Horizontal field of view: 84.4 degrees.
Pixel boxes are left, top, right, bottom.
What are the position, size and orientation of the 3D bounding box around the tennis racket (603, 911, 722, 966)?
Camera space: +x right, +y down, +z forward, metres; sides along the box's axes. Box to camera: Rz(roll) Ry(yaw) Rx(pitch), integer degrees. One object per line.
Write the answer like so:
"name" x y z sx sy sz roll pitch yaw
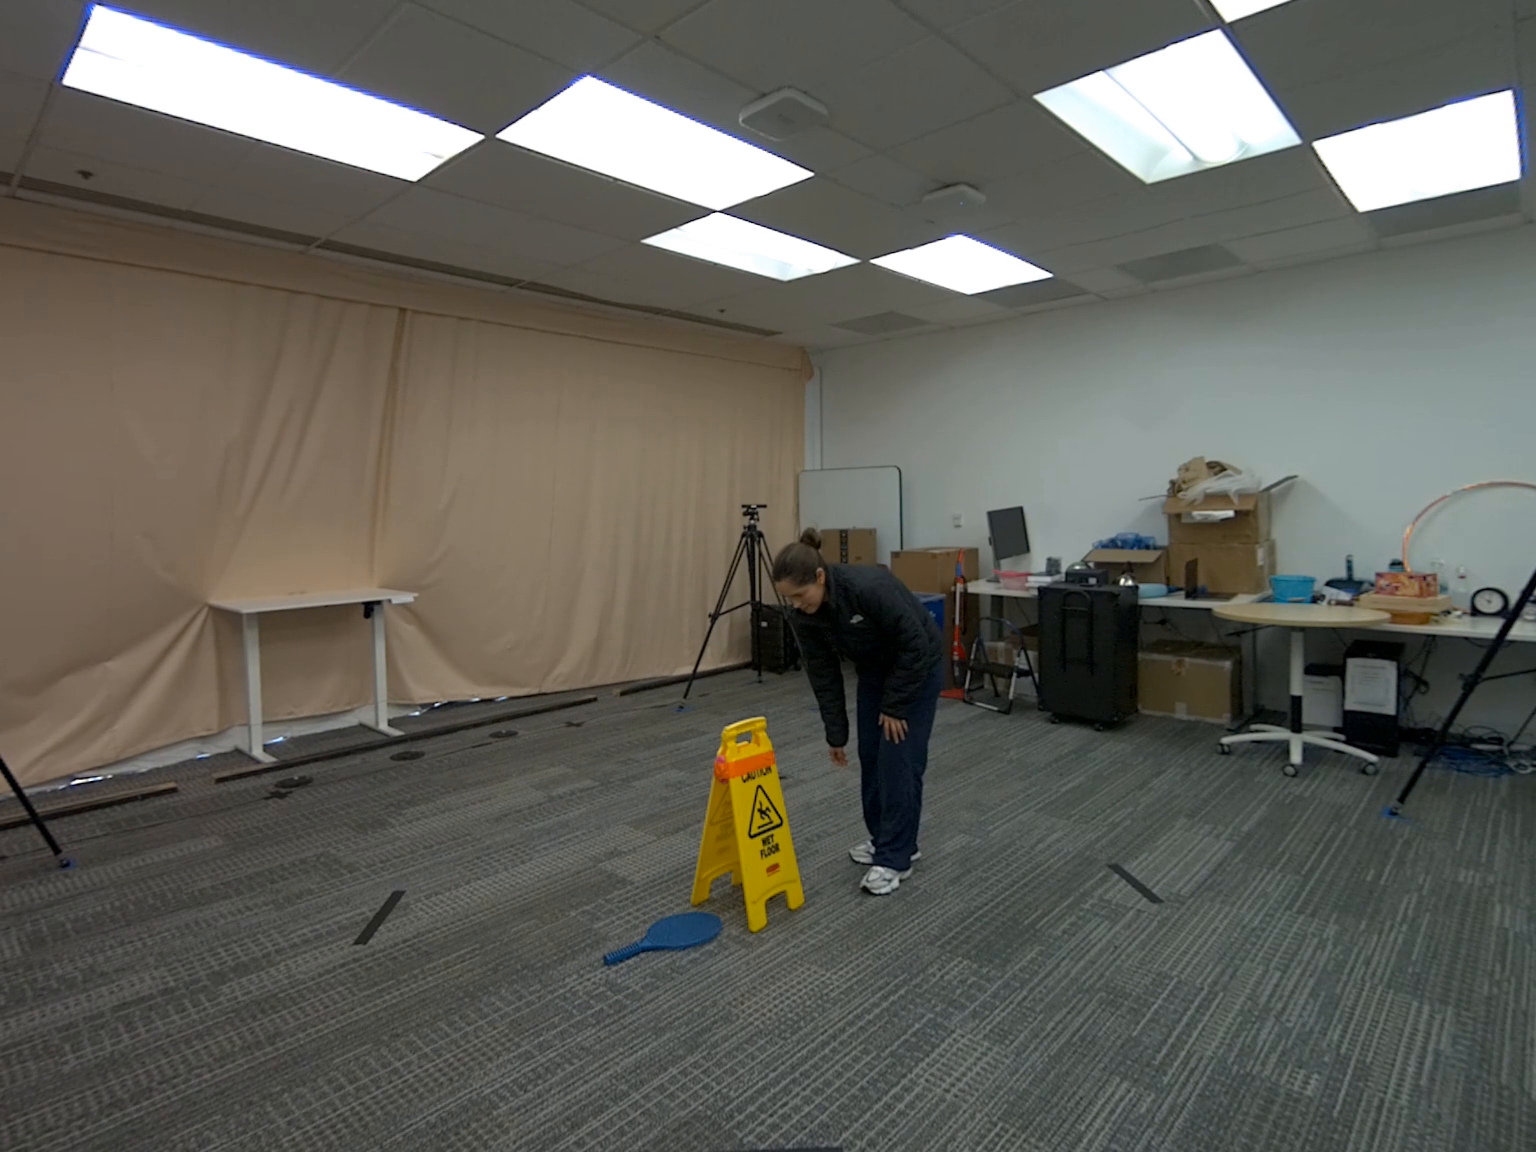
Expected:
"tennis racket" -0.309 1.152 2.700 0.420 0.032 0.221 -5 5 -42
